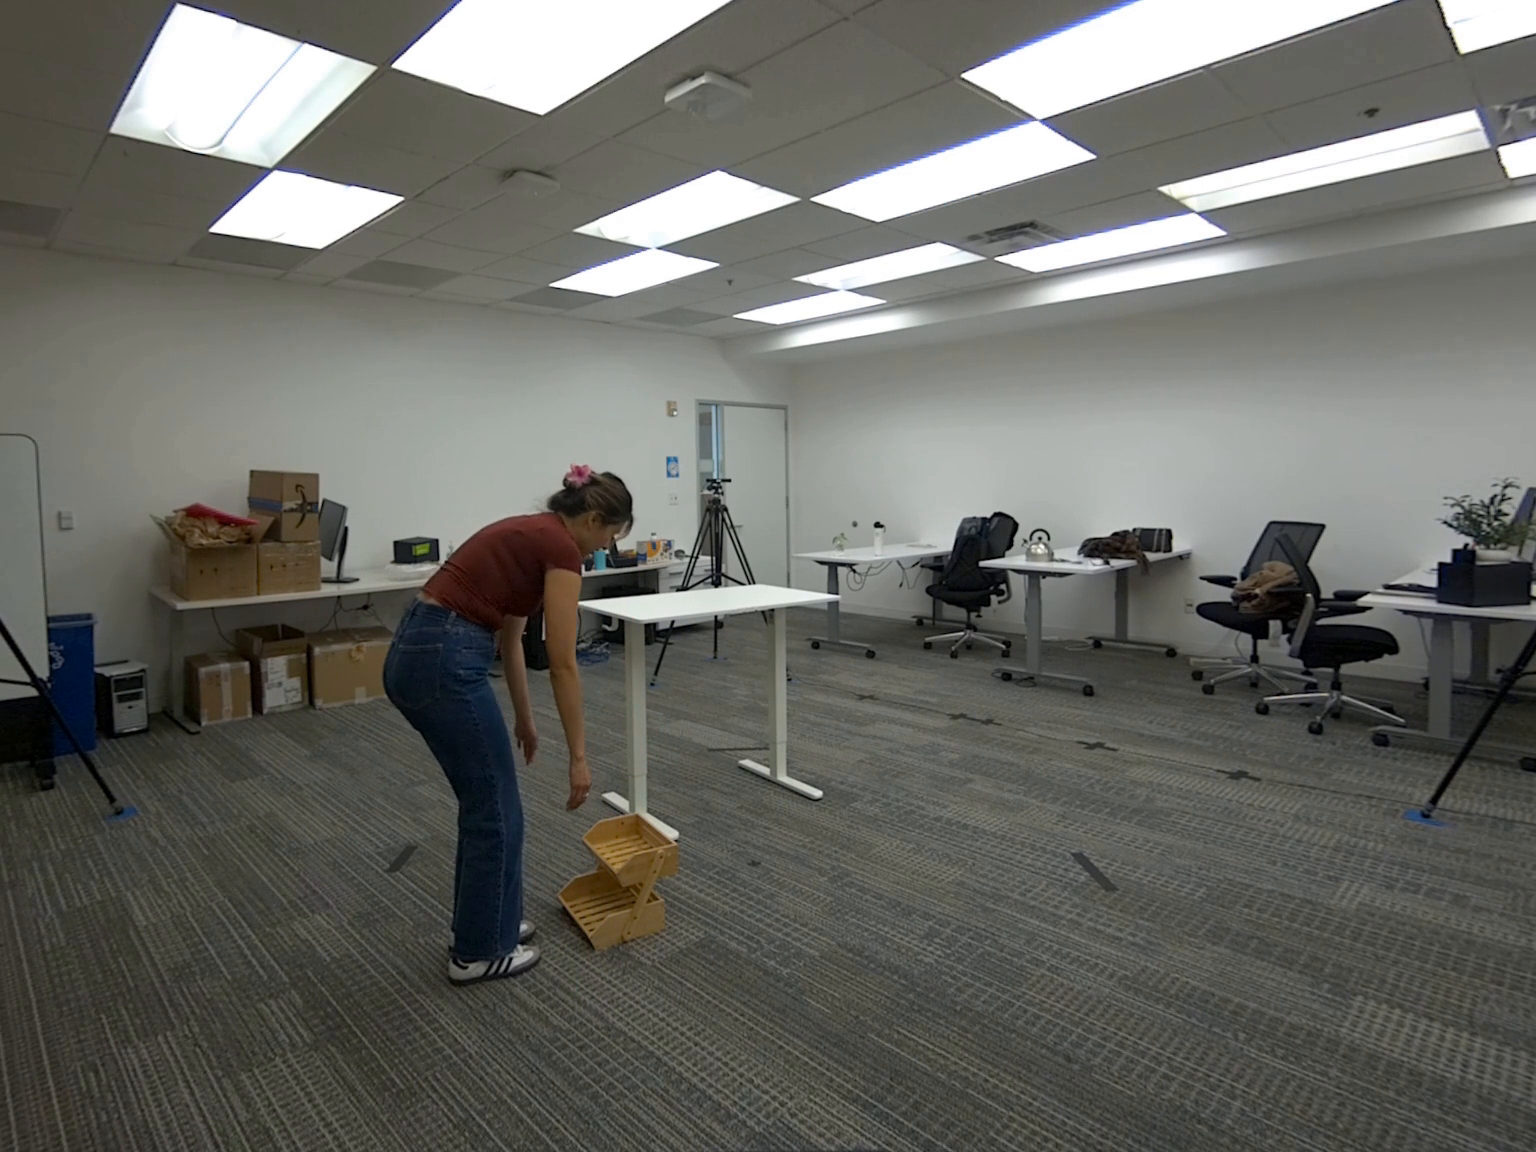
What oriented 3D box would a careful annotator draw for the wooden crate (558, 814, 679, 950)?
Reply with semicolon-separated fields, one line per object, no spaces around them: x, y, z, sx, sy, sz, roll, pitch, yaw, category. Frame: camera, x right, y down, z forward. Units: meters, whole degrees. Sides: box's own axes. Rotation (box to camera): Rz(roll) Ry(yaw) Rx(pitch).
-0.485;0.962;2.734;0.295;0.272;0.334;-4;6;-31;wooden crate
